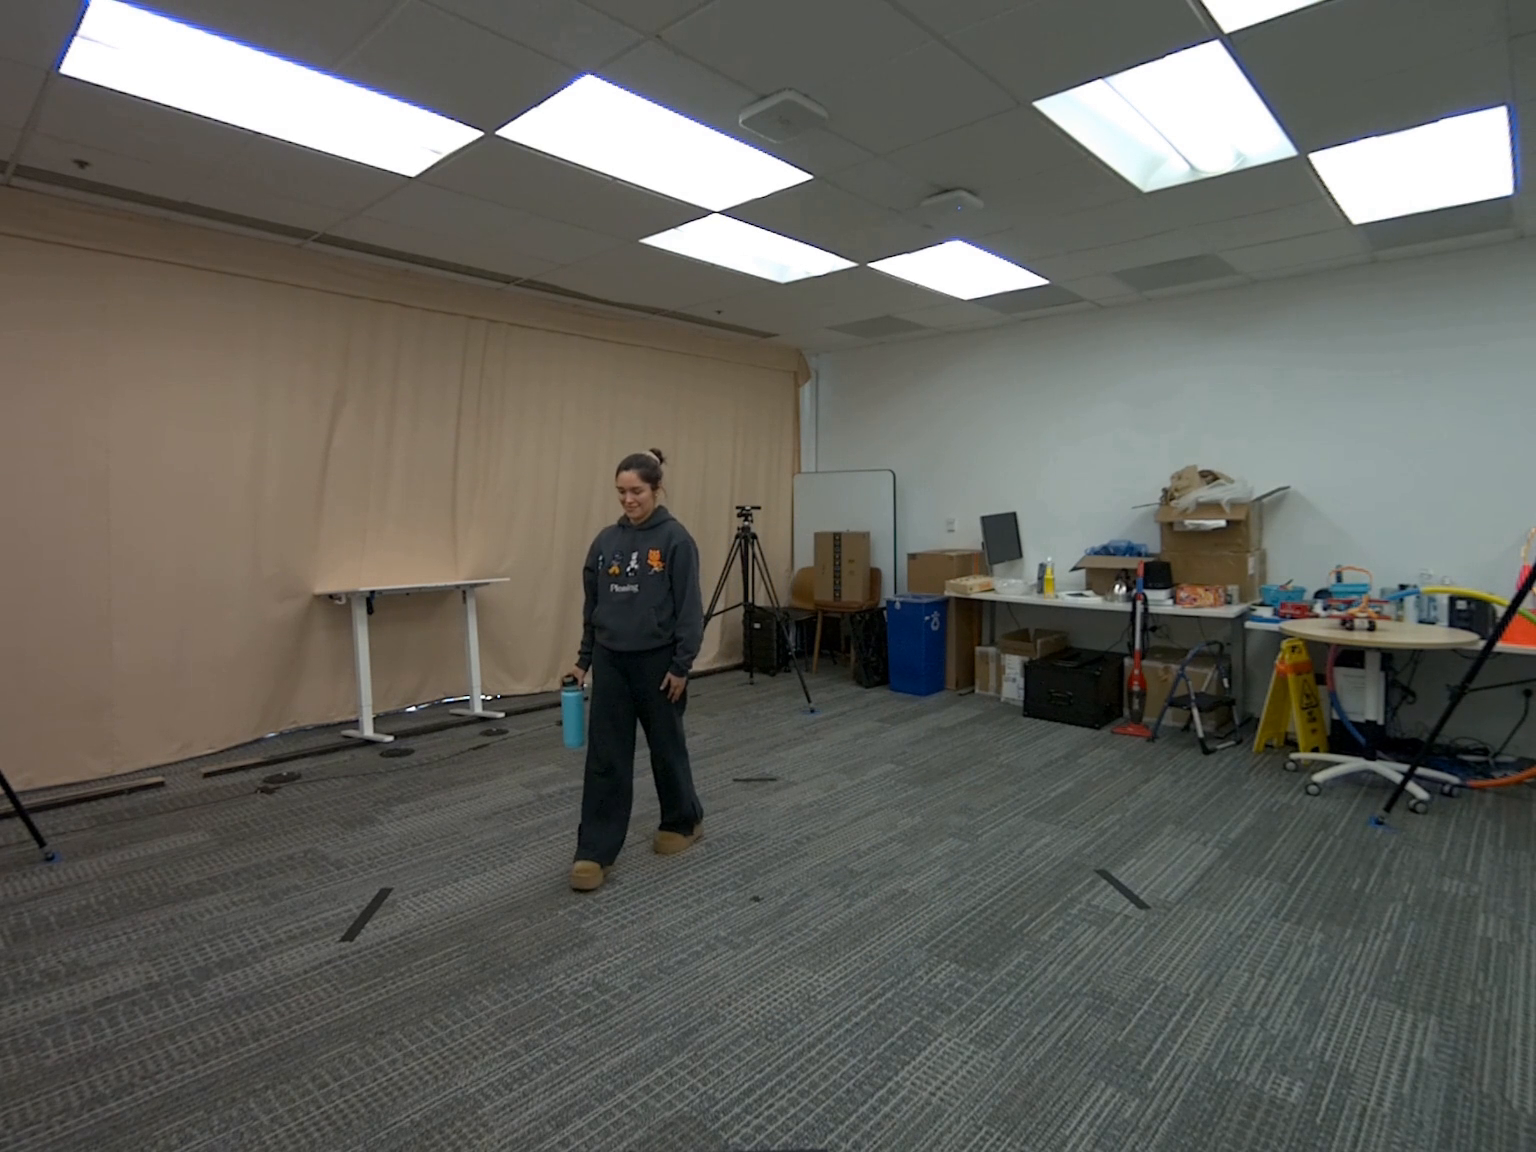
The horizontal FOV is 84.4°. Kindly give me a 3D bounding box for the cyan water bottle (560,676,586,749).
[{"bbox_3d":[-0.766,0.543,3.378,0.092,0.282,0.093,-3,5,-2],"label":"cyan water bottle"}]
